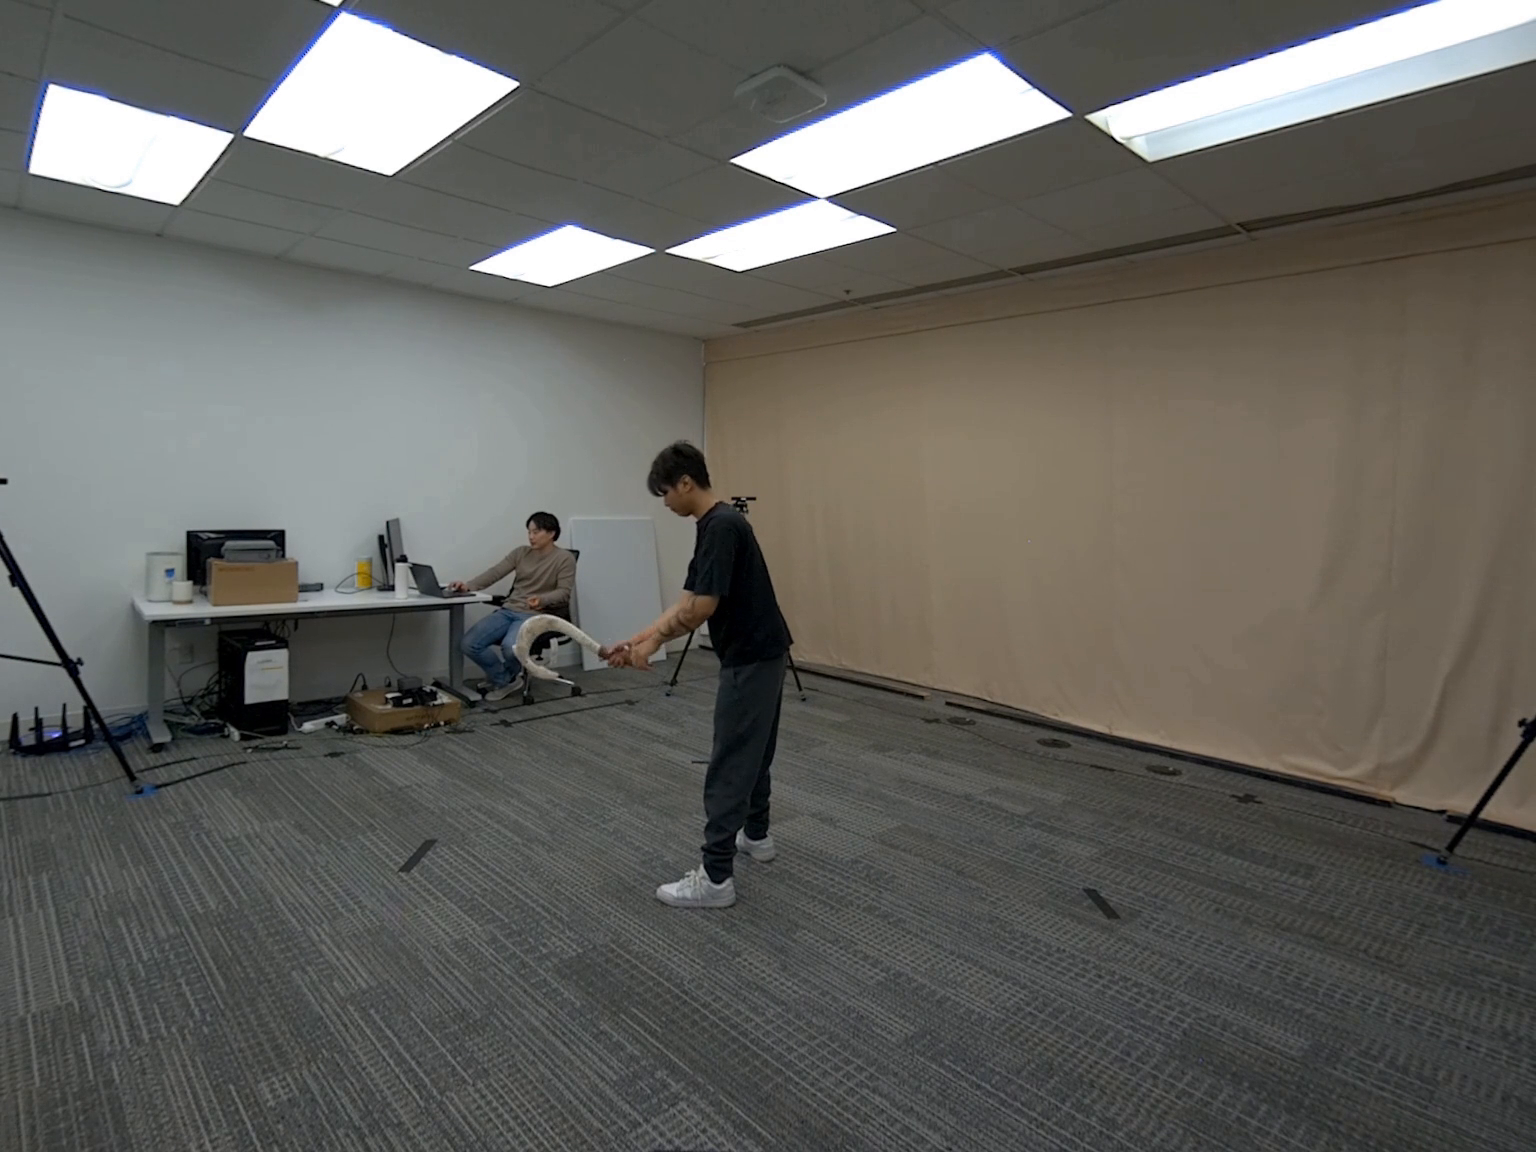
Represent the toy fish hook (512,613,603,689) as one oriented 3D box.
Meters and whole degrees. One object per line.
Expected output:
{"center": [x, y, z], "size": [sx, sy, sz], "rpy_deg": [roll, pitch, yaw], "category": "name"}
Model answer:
{"center": [-0.671, 0.313, 3.071], "size": [0.509, 0.226, 0.048], "rpy_deg": [17, -13, 4], "category": "toy fish hook"}
